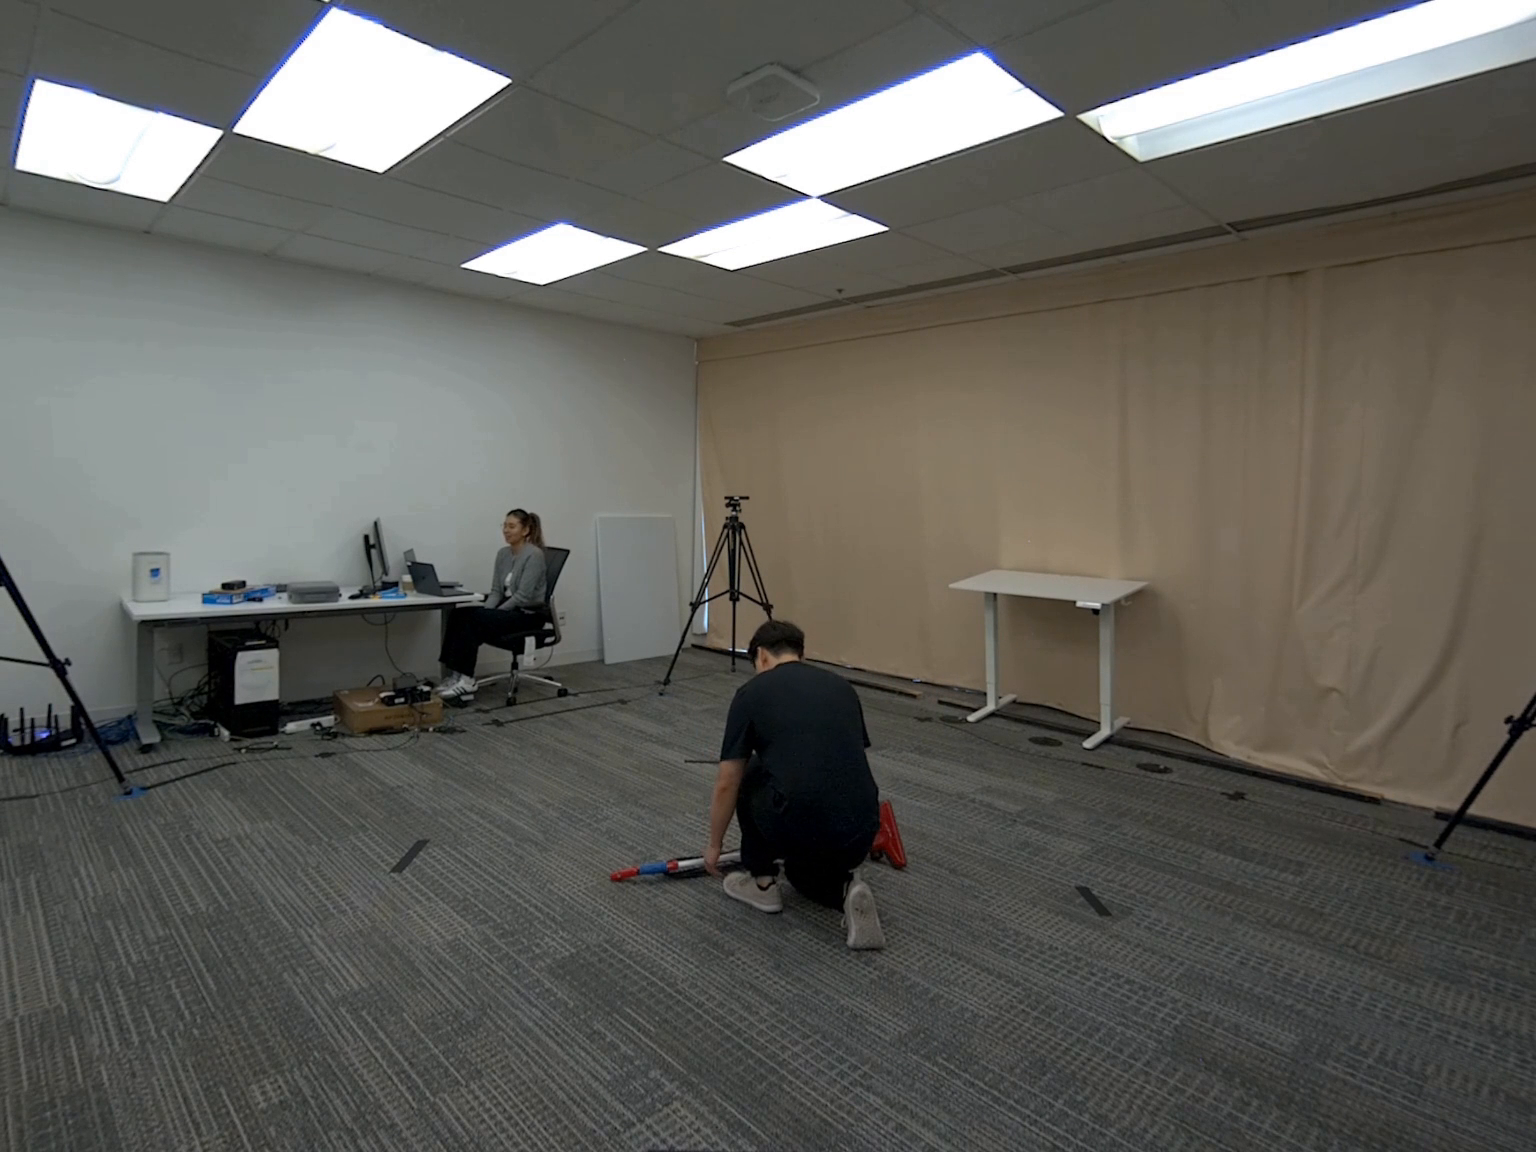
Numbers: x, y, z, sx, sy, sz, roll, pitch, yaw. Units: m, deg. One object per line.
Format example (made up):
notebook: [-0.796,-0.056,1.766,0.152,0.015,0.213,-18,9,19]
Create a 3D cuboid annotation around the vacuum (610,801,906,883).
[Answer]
vacuum: [-0.051,1.041,3.141,1.039,0.258,0.142,-3,-32,-13]
